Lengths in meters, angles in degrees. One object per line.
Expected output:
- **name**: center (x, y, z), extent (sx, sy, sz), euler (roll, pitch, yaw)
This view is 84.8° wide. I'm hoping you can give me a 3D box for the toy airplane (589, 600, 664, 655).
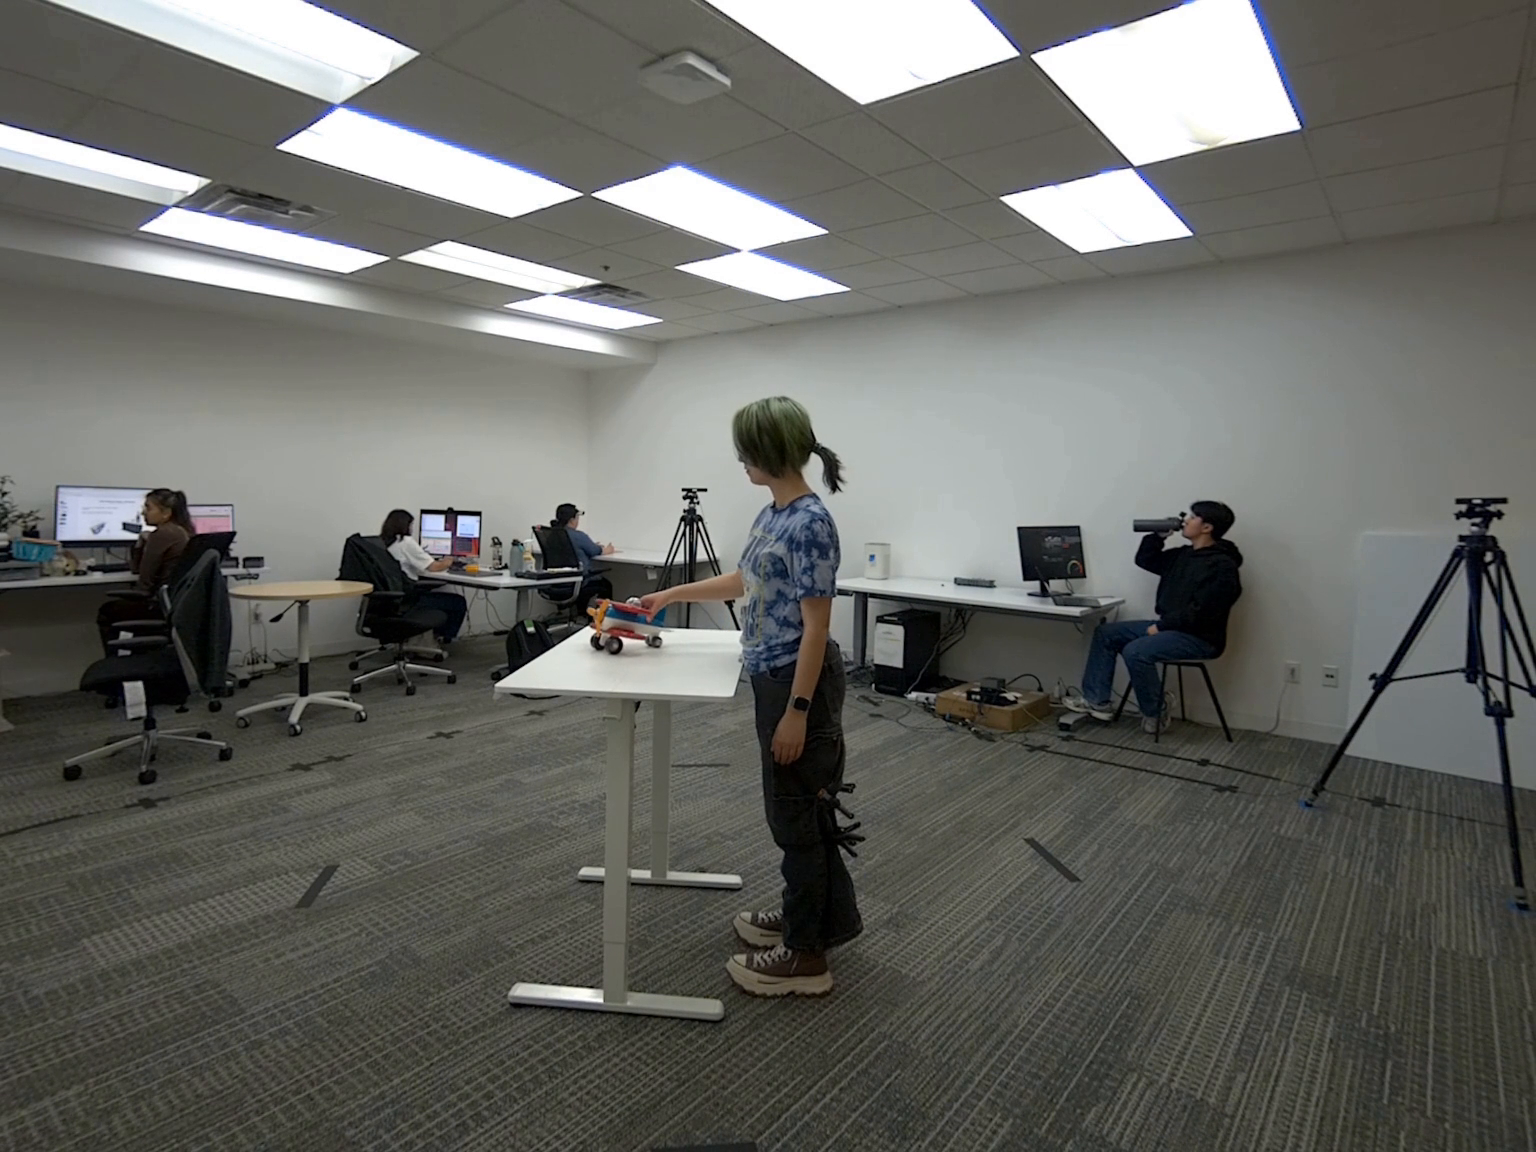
- **toy airplane**: center (-0.461, 0.153, 2.671), extent (0.257, 0.156, 0.254), euler (2, 4, 21)
